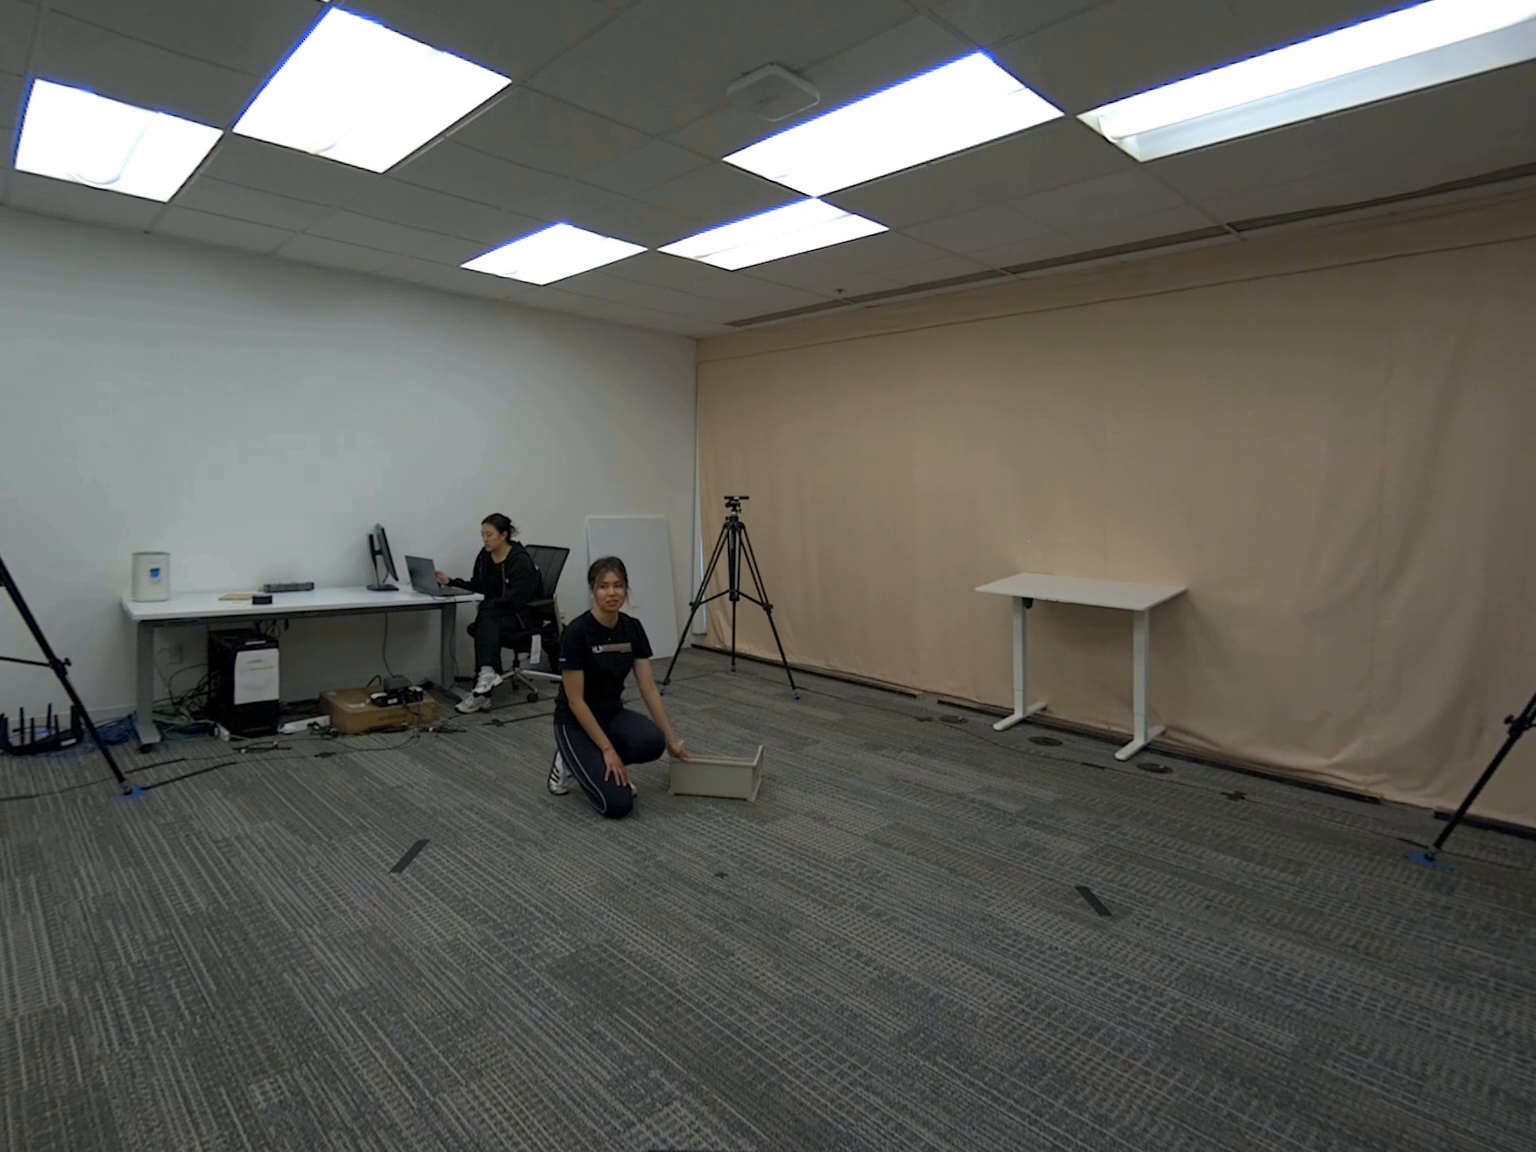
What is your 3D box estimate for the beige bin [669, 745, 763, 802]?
[{"bbox_3d":[-0.258,0.930,4.089,0.425,0.188,0.376,2,6,6],"label":"beige bin"}]
